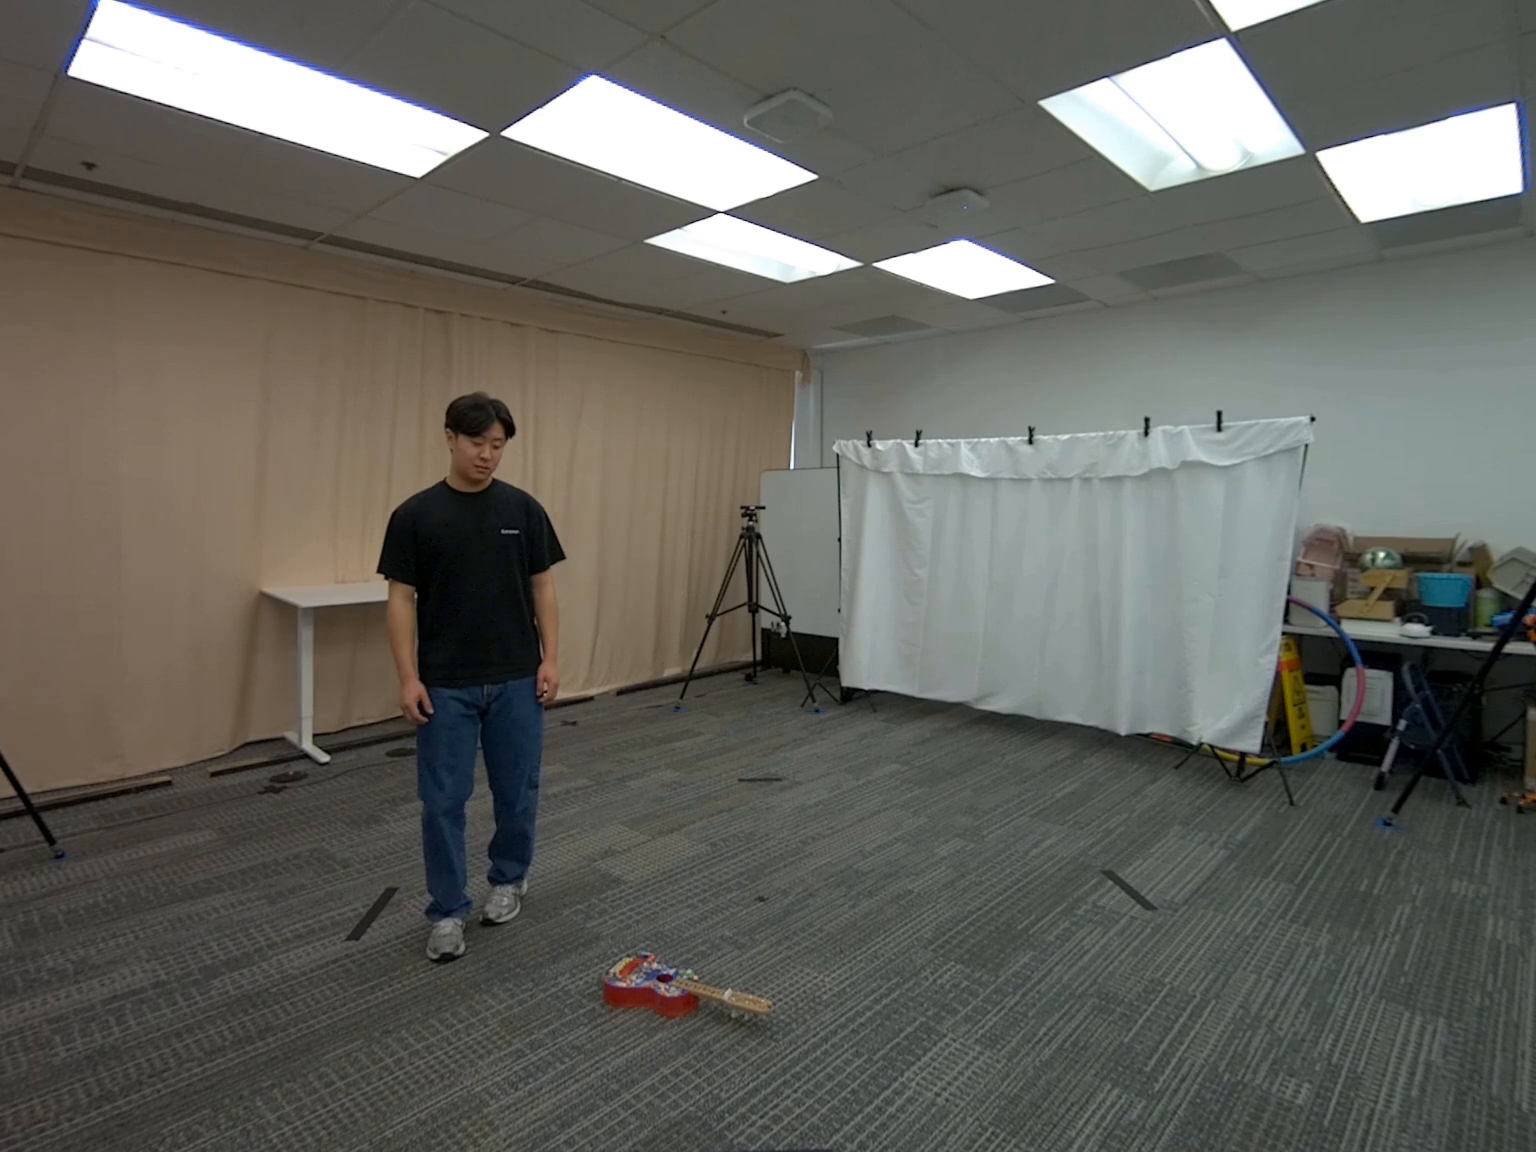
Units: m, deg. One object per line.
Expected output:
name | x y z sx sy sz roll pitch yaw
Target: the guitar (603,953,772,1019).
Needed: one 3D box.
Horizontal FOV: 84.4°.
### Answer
guitar | -0.235 1.169 2.319 0.513 0.070 0.187 3 5 35
